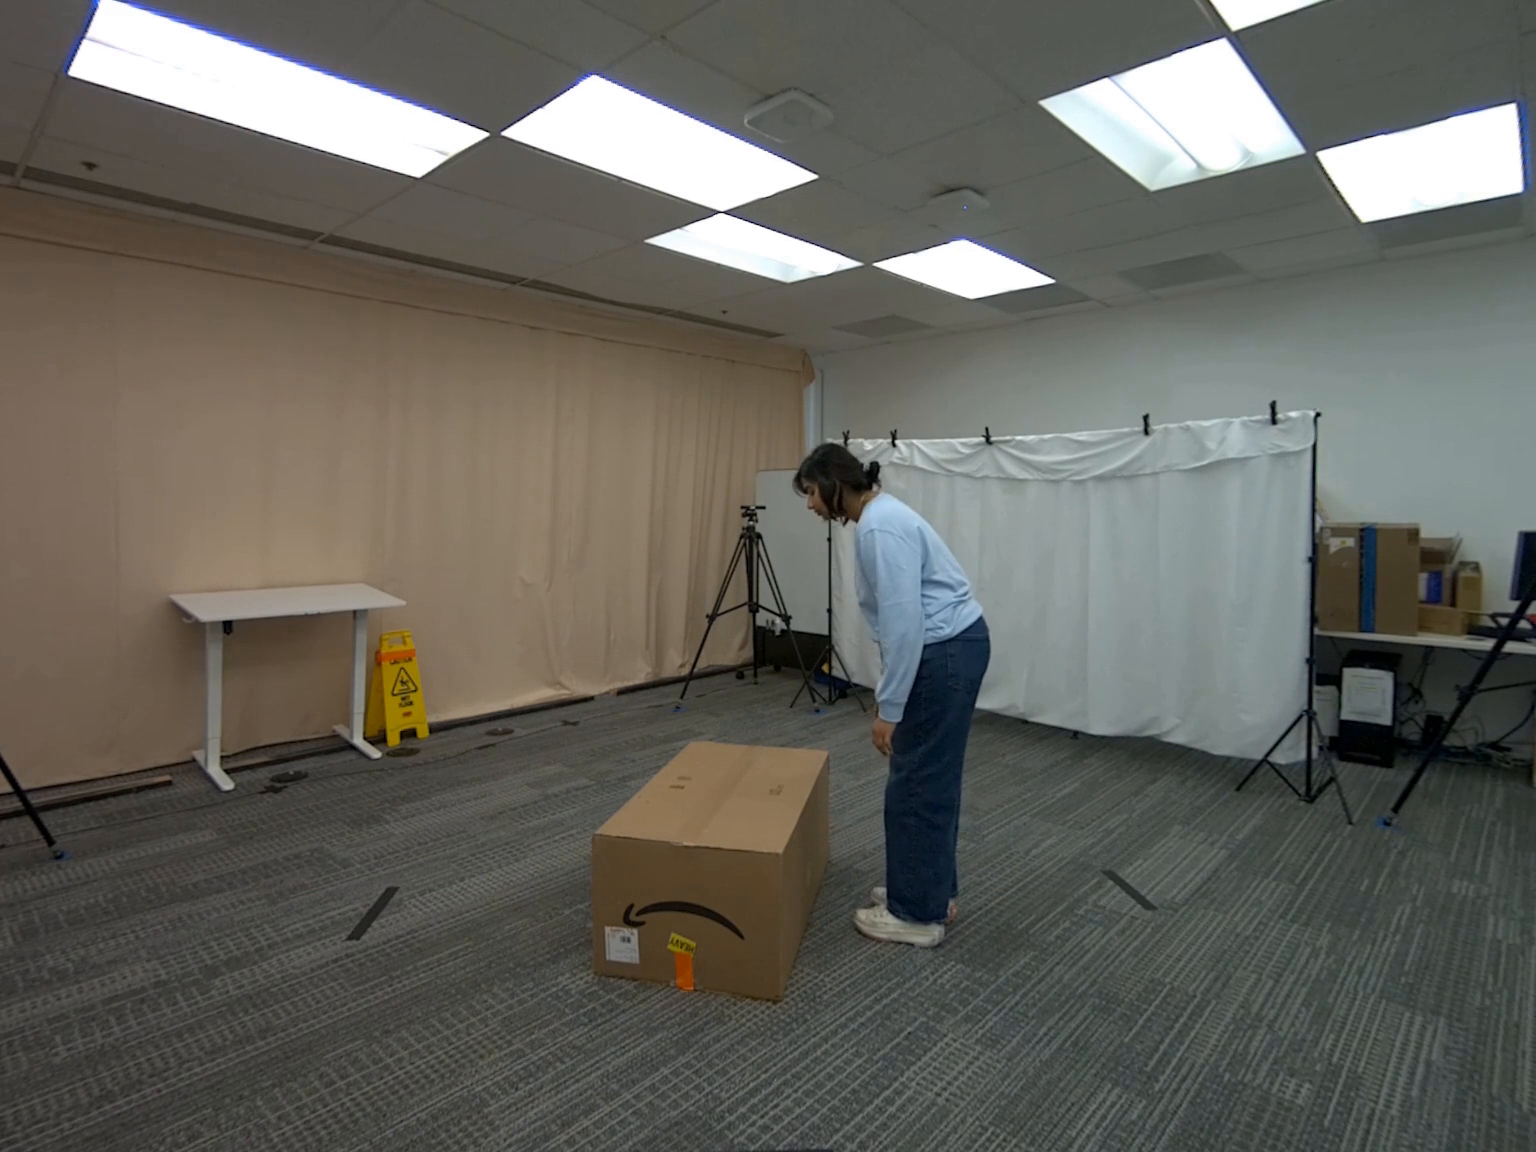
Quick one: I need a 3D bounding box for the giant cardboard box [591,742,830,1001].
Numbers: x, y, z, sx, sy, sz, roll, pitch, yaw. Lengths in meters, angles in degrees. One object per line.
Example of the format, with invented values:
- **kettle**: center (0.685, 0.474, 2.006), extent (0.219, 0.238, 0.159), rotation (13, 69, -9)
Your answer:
- **giant cardboard box**: center (-0.136, 0.934, 2.909), extent (0.586, 0.425, 1.013), rotation (1, 5, 13)
